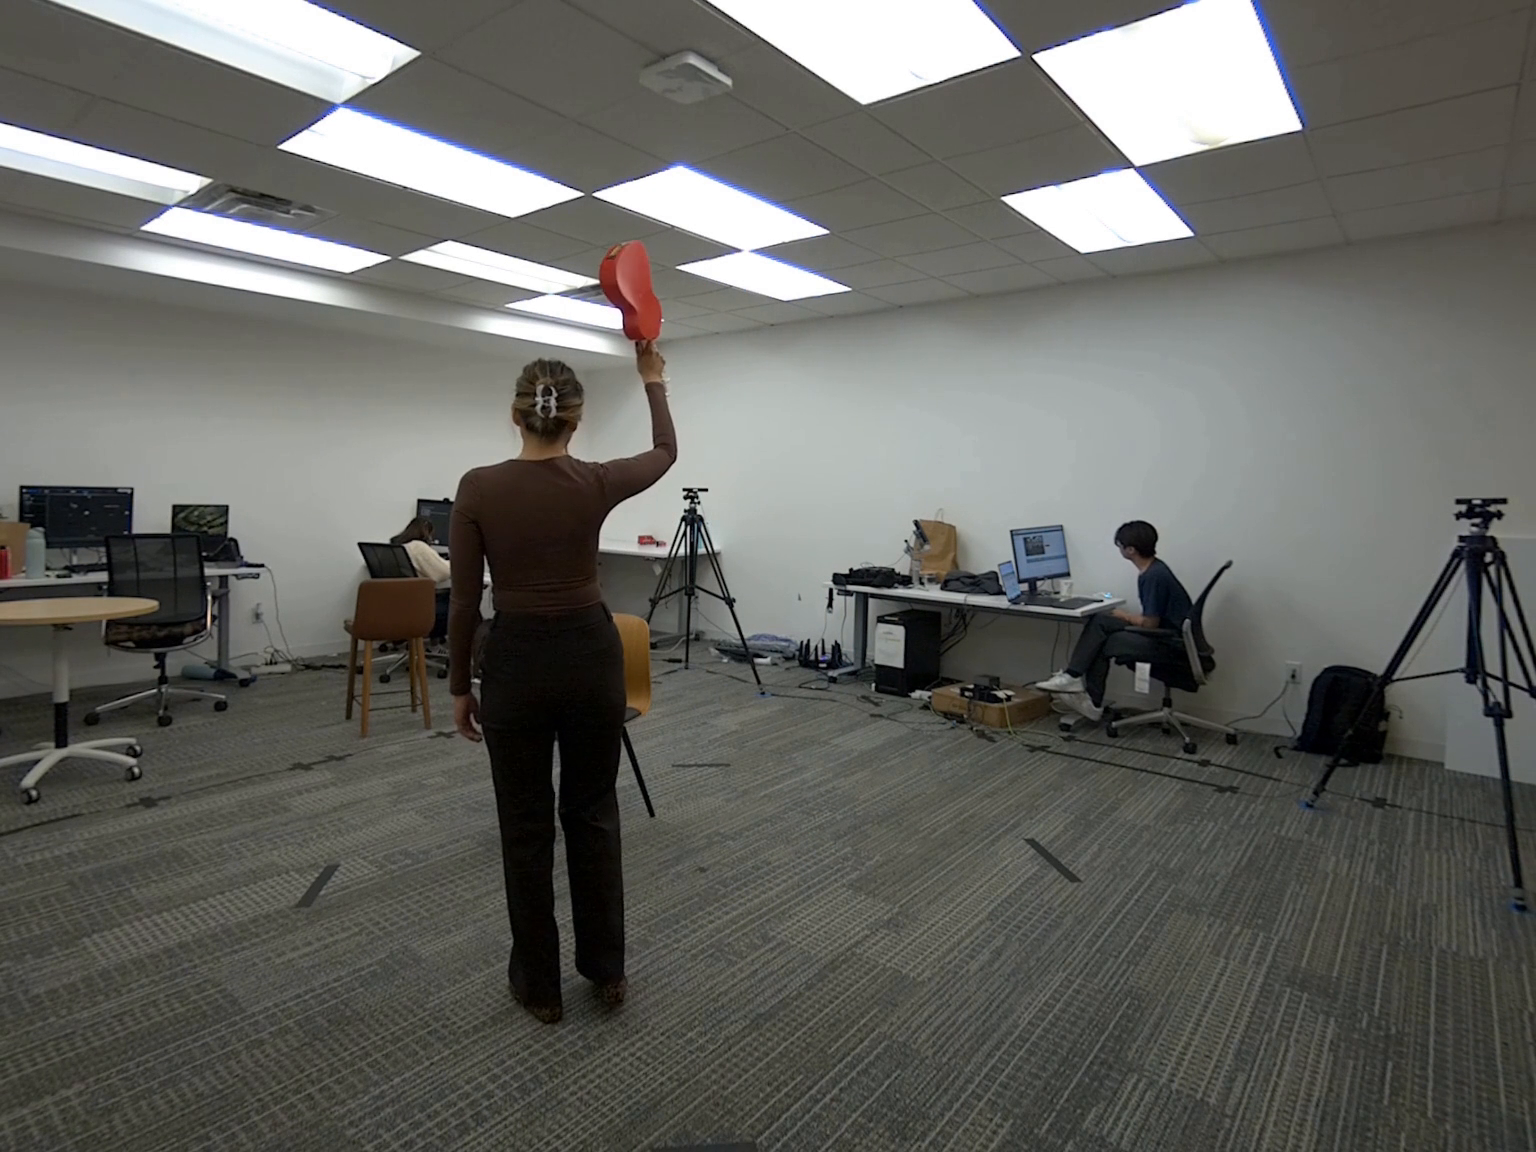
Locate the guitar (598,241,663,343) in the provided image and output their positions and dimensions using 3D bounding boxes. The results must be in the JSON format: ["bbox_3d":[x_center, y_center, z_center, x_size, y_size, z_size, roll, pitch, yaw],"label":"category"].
[{"bbox_3d":[-0.365,-0.748,2.512,0.072,0.196,0.479,3,-37,21],"label":"guitar"}]
